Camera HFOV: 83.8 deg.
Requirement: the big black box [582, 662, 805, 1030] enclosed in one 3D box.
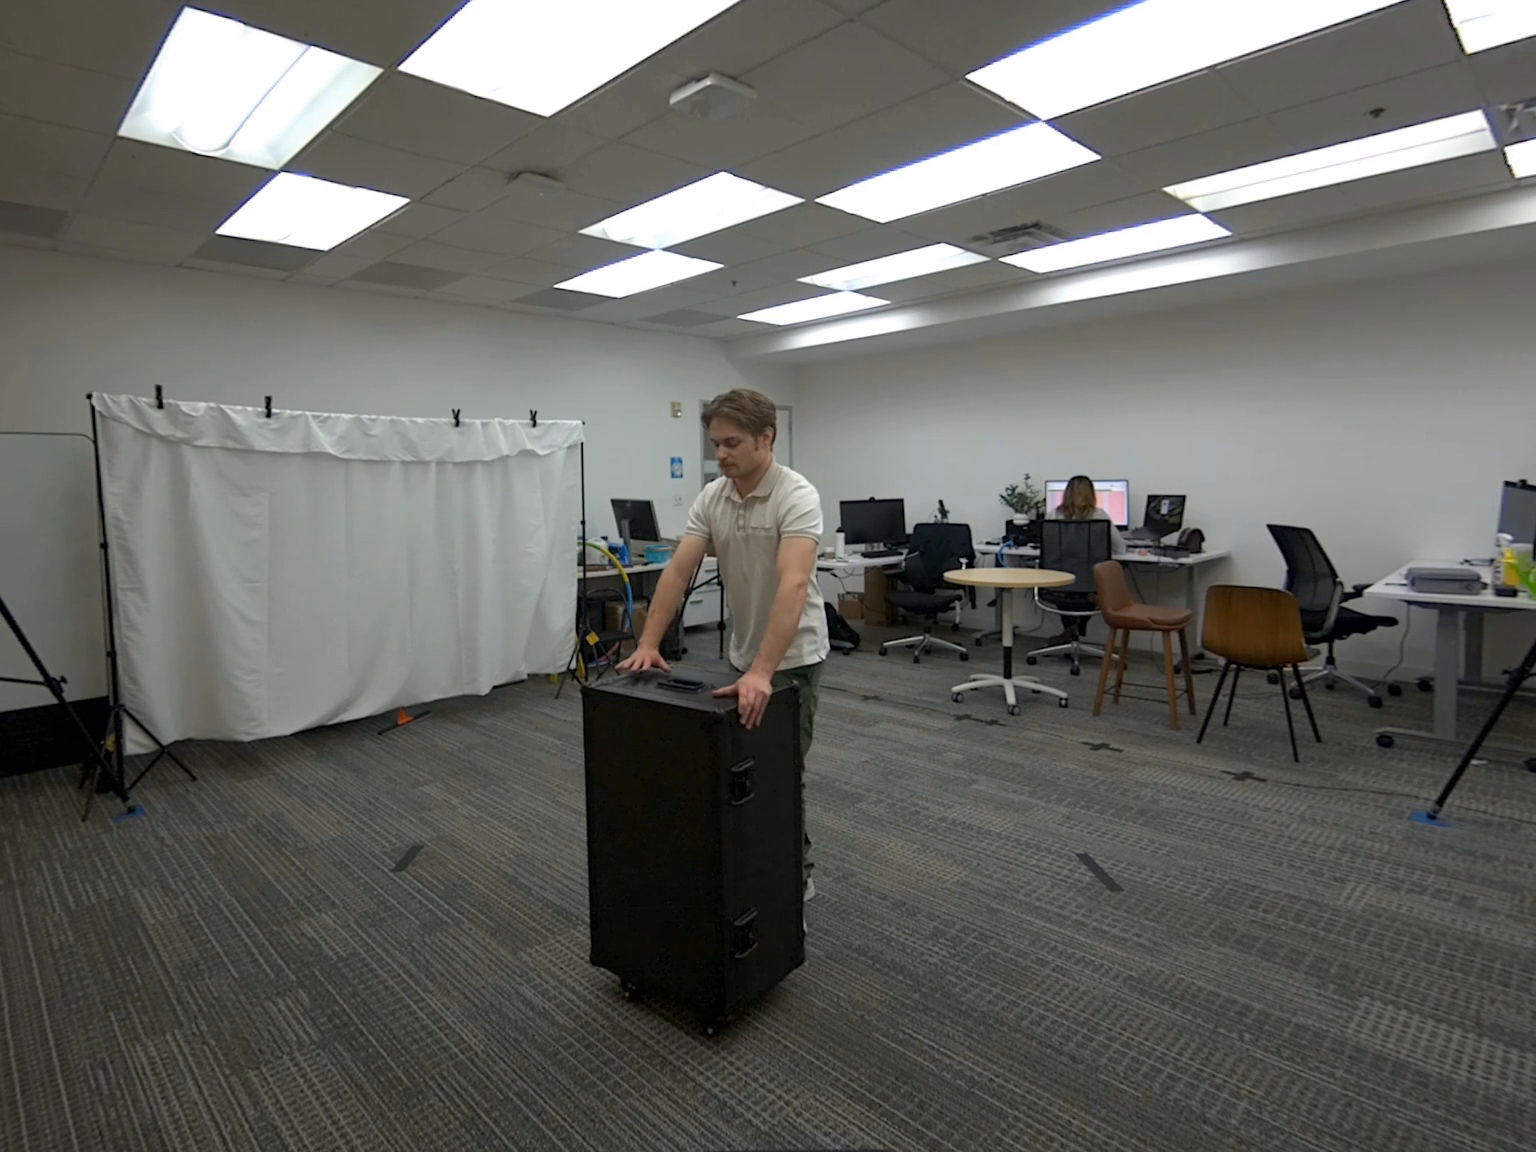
[{"bbox_3d":[-0.202,0.718,2.343,0.538,0.866,0.375,2,5,36],"label":"big black box"}]
